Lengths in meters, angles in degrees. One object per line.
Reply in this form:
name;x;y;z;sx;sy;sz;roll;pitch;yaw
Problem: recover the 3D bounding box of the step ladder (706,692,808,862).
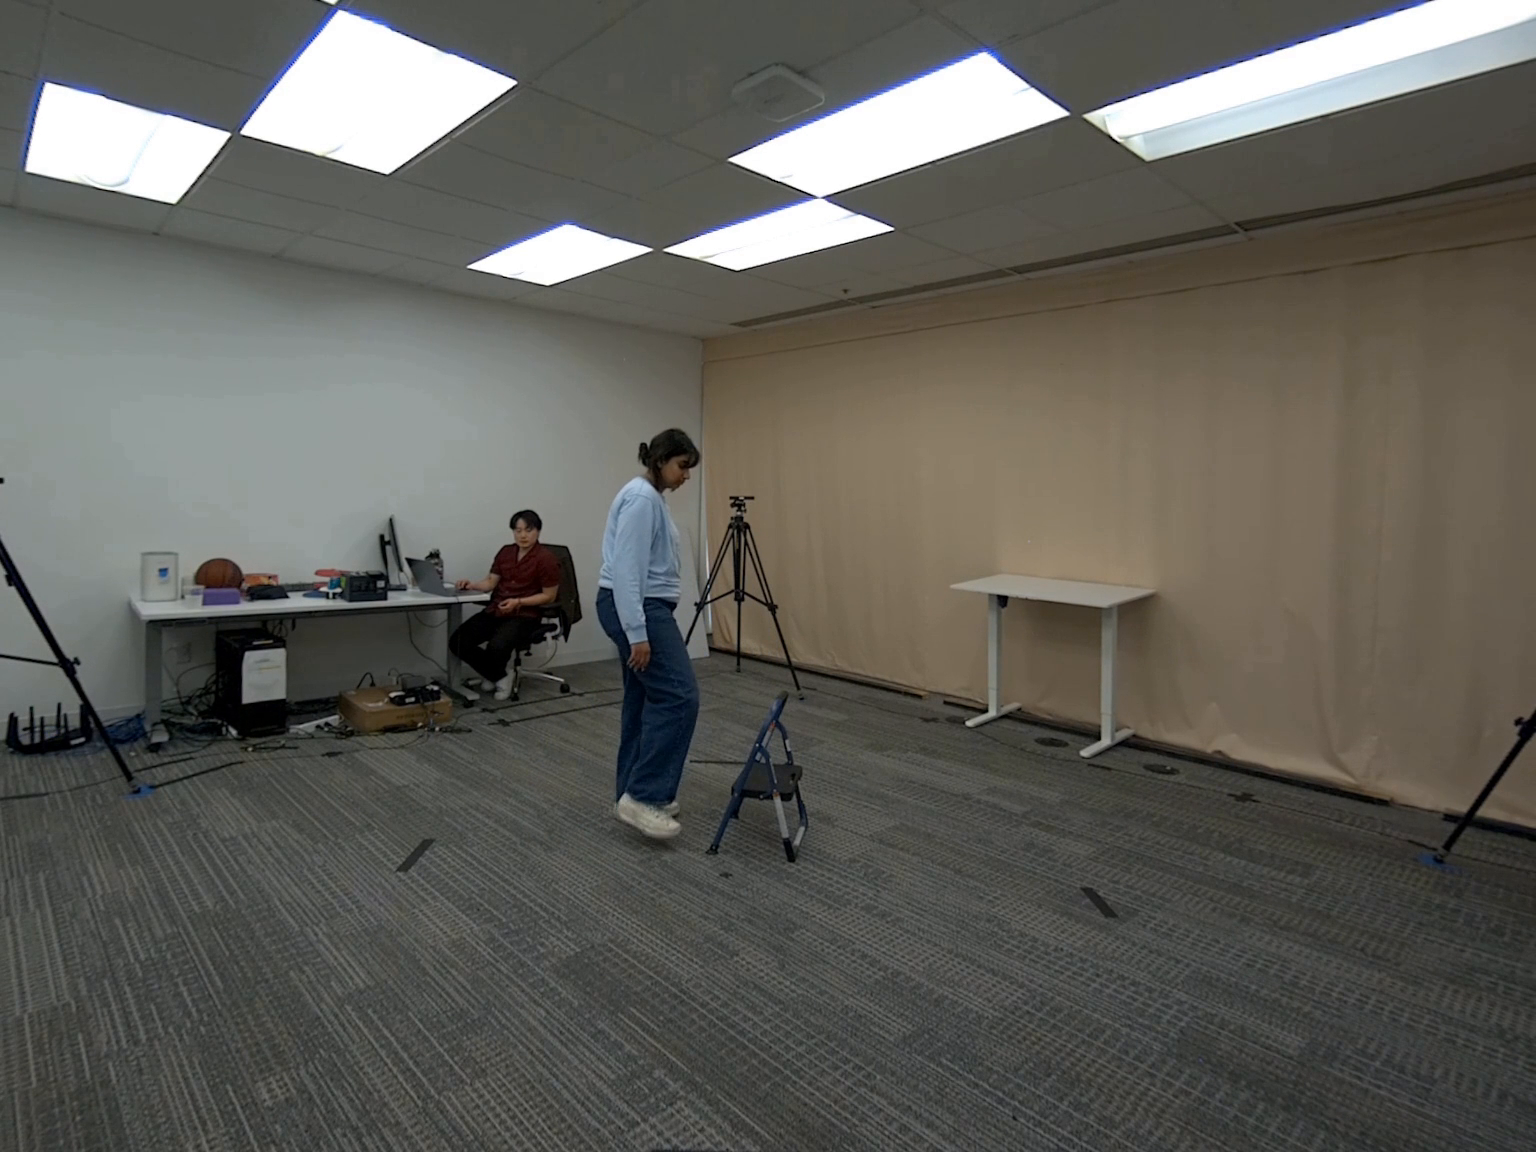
step ladder;-0.032;0.778;3.440;0.352;0.605;0.427;1;3;11
